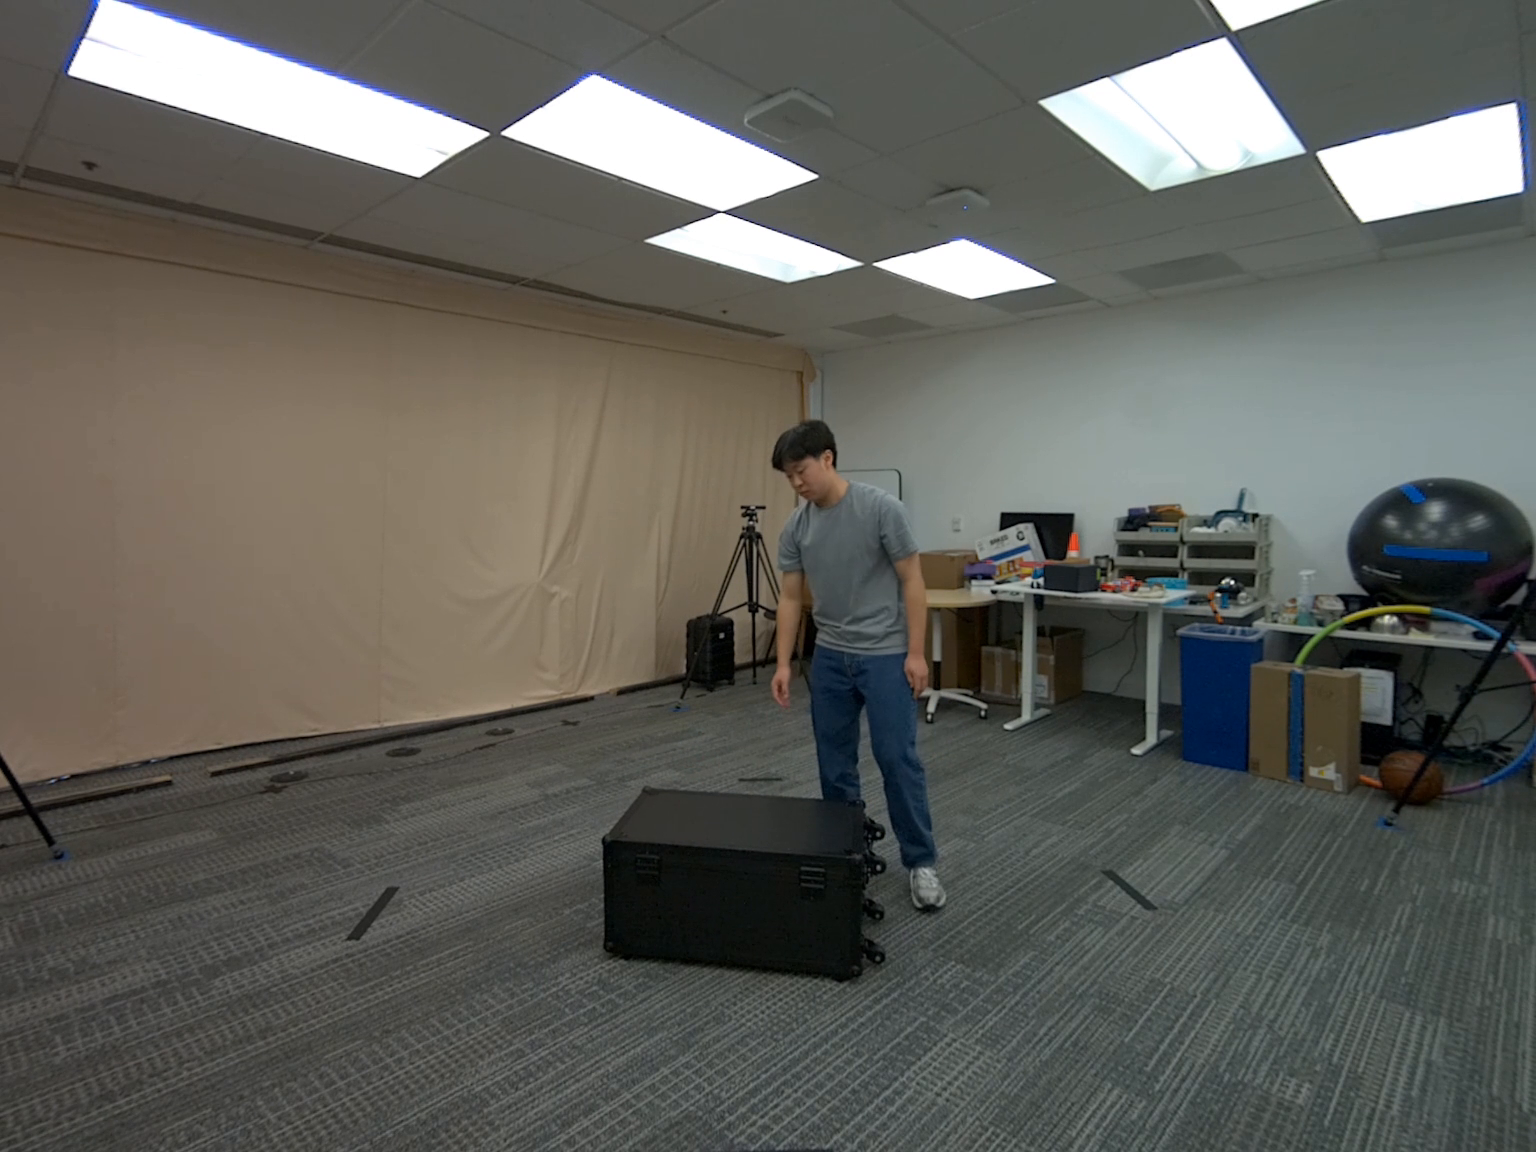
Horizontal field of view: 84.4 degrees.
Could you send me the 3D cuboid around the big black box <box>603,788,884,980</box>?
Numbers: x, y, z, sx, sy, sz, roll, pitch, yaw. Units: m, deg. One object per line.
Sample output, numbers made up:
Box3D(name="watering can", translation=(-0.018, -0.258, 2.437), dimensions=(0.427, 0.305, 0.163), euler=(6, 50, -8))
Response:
Box3D(name="big black box", translation=(-0.059, 0.970, 2.730), dimensions=(0.872, 0.395, 0.516), euler=(2, 3, 10))
